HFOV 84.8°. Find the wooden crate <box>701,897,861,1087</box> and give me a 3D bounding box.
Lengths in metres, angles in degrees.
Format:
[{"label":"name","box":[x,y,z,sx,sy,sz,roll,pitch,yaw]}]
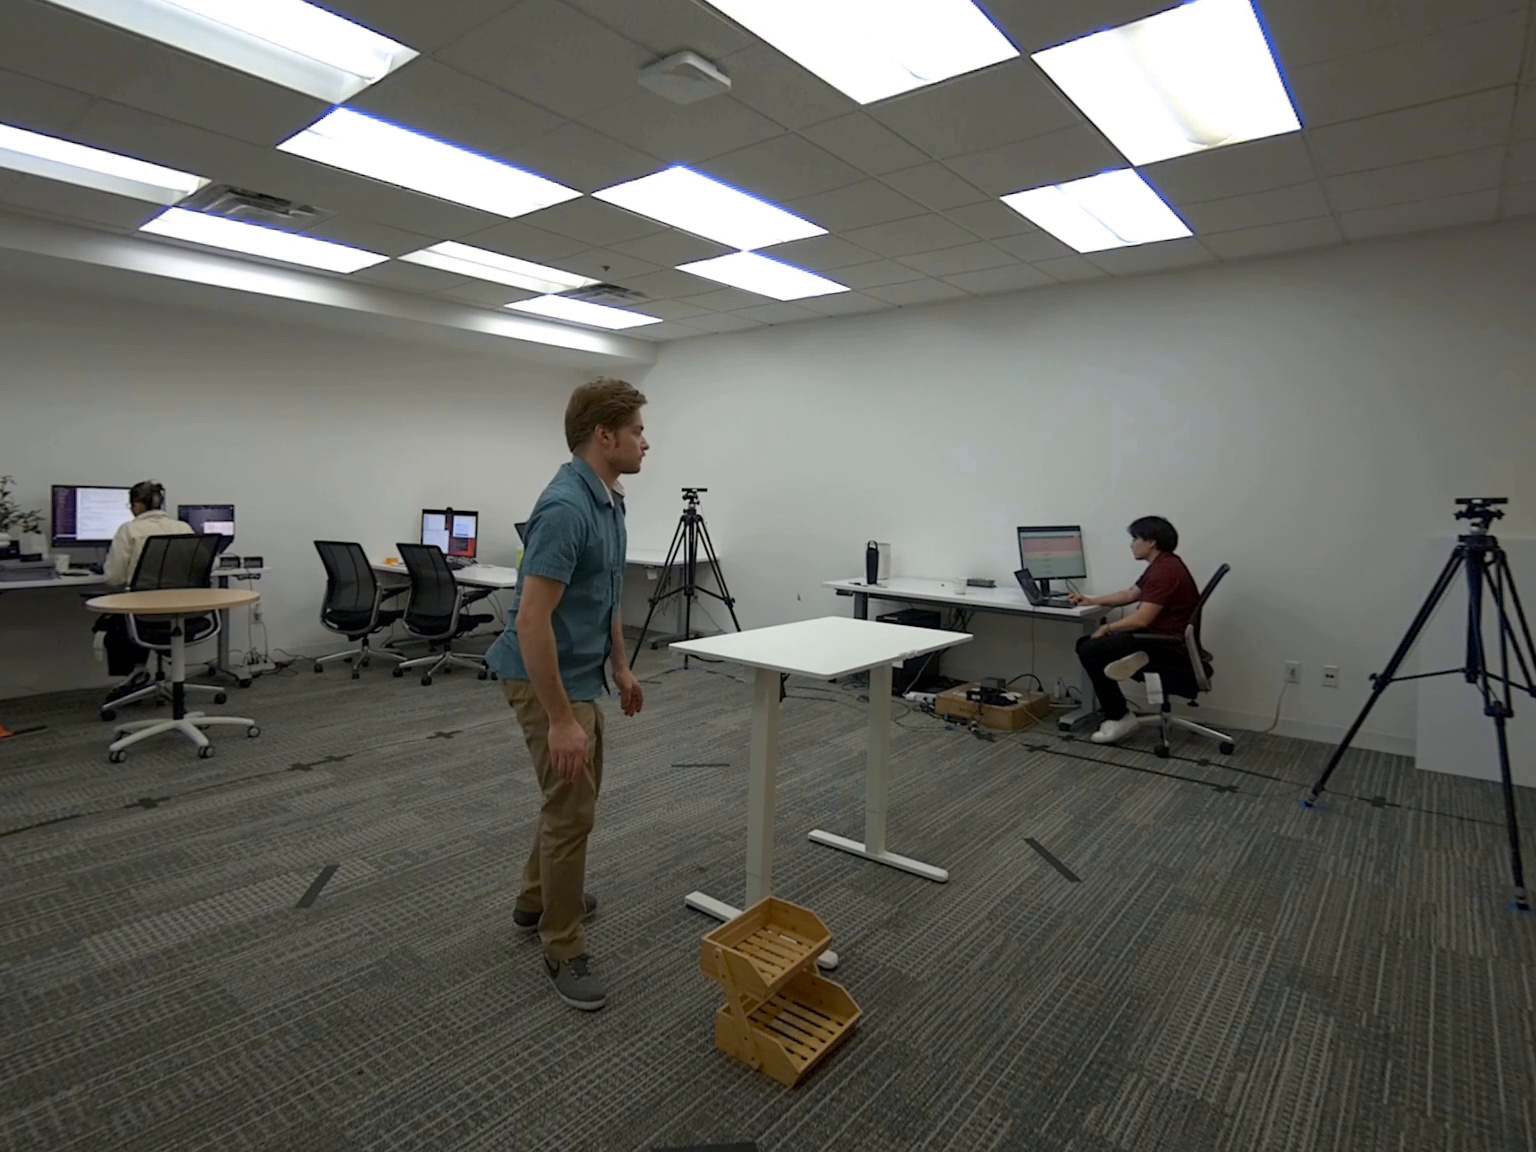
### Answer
[{"label":"wooden crate","box":[0.034,1.034,2.166,0.312,0.272,0.315,3,5,37]}]
